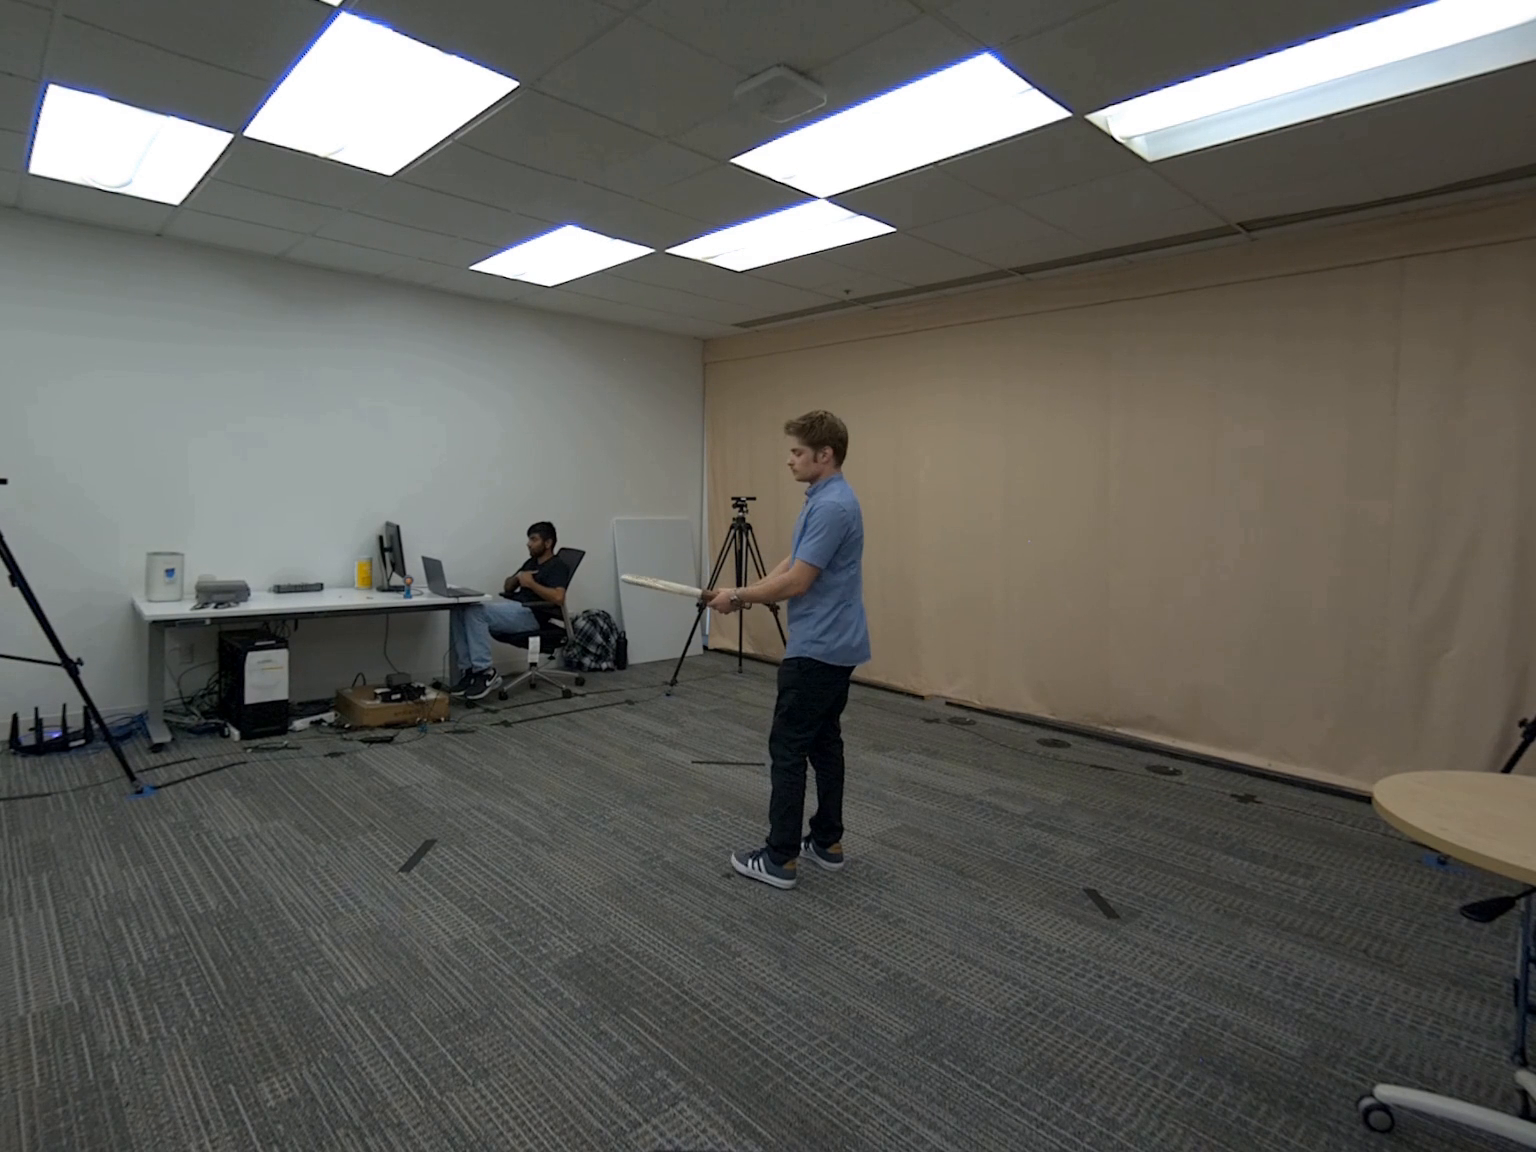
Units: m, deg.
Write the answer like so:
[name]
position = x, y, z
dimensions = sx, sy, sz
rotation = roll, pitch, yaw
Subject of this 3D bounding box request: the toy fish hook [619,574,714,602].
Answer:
[toy fish hook]
position = -0.276, 0.070, 3.117
dimensions = 0.506, 0.048, 0.225
rotation = 13, 4, -2
